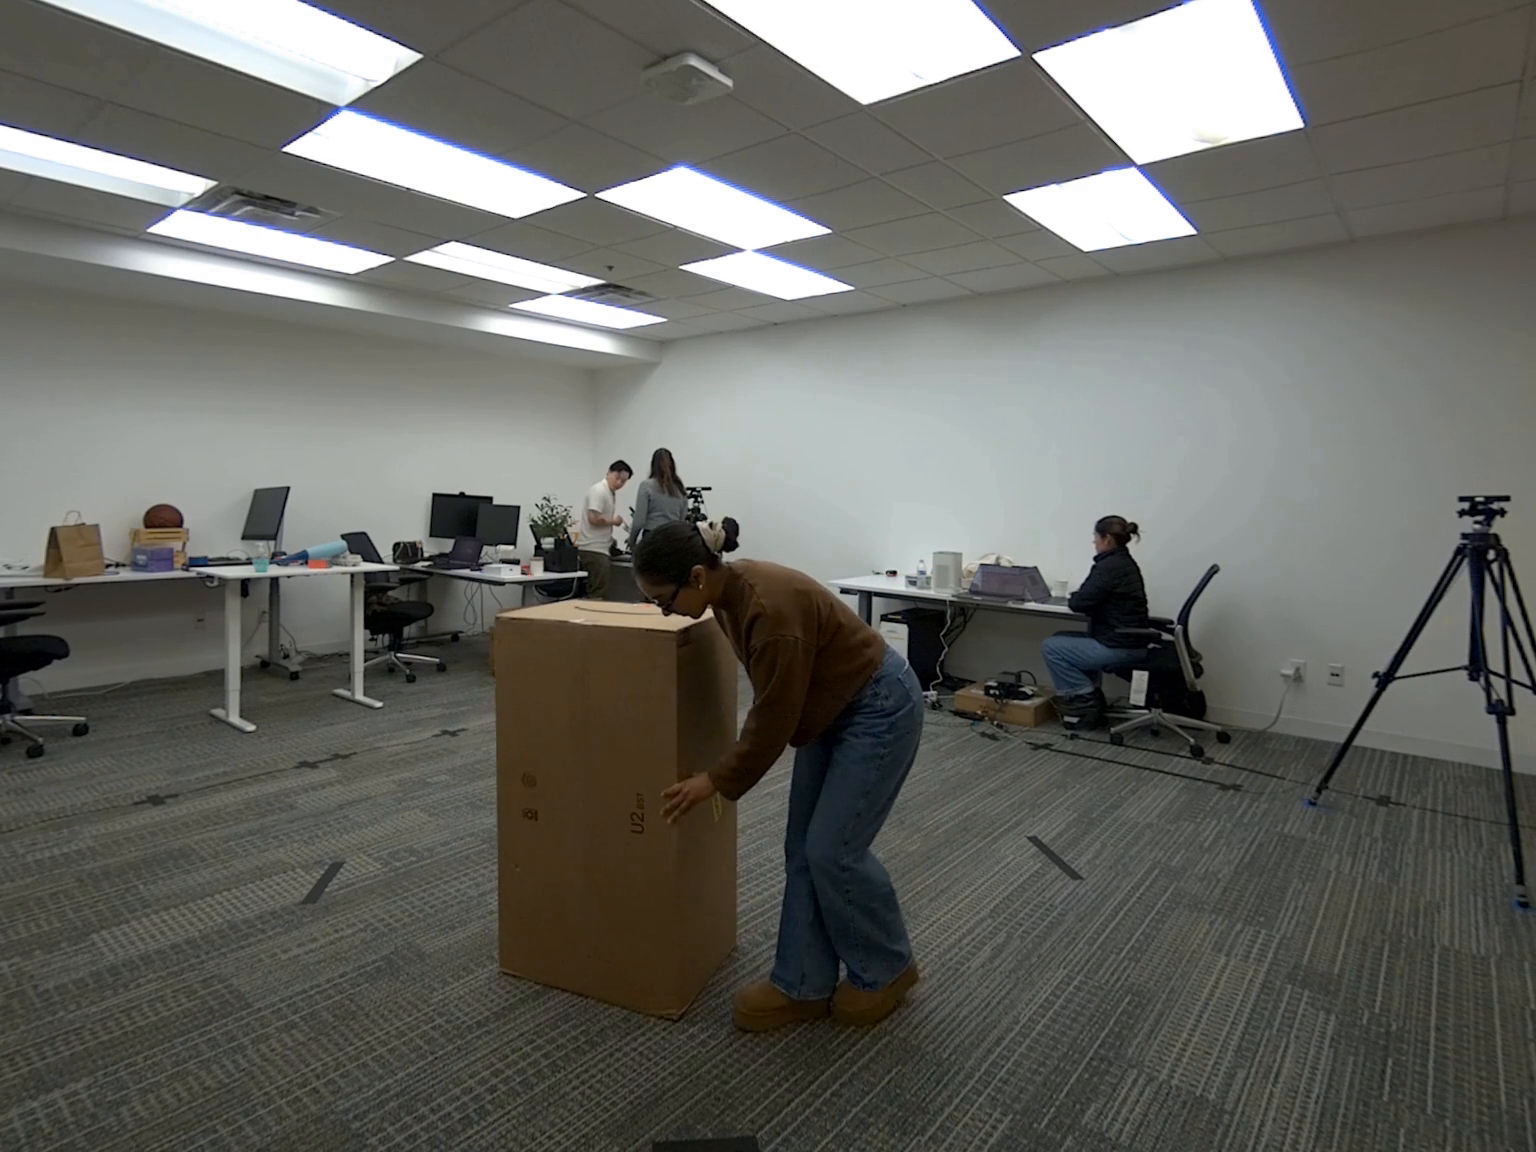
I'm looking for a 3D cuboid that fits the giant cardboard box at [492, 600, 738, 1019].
[{"bbox_3d":[-0.438,0.615,2.488,0.591,1.024,0.417,1,3,22],"label":"giant cardboard box"}]
